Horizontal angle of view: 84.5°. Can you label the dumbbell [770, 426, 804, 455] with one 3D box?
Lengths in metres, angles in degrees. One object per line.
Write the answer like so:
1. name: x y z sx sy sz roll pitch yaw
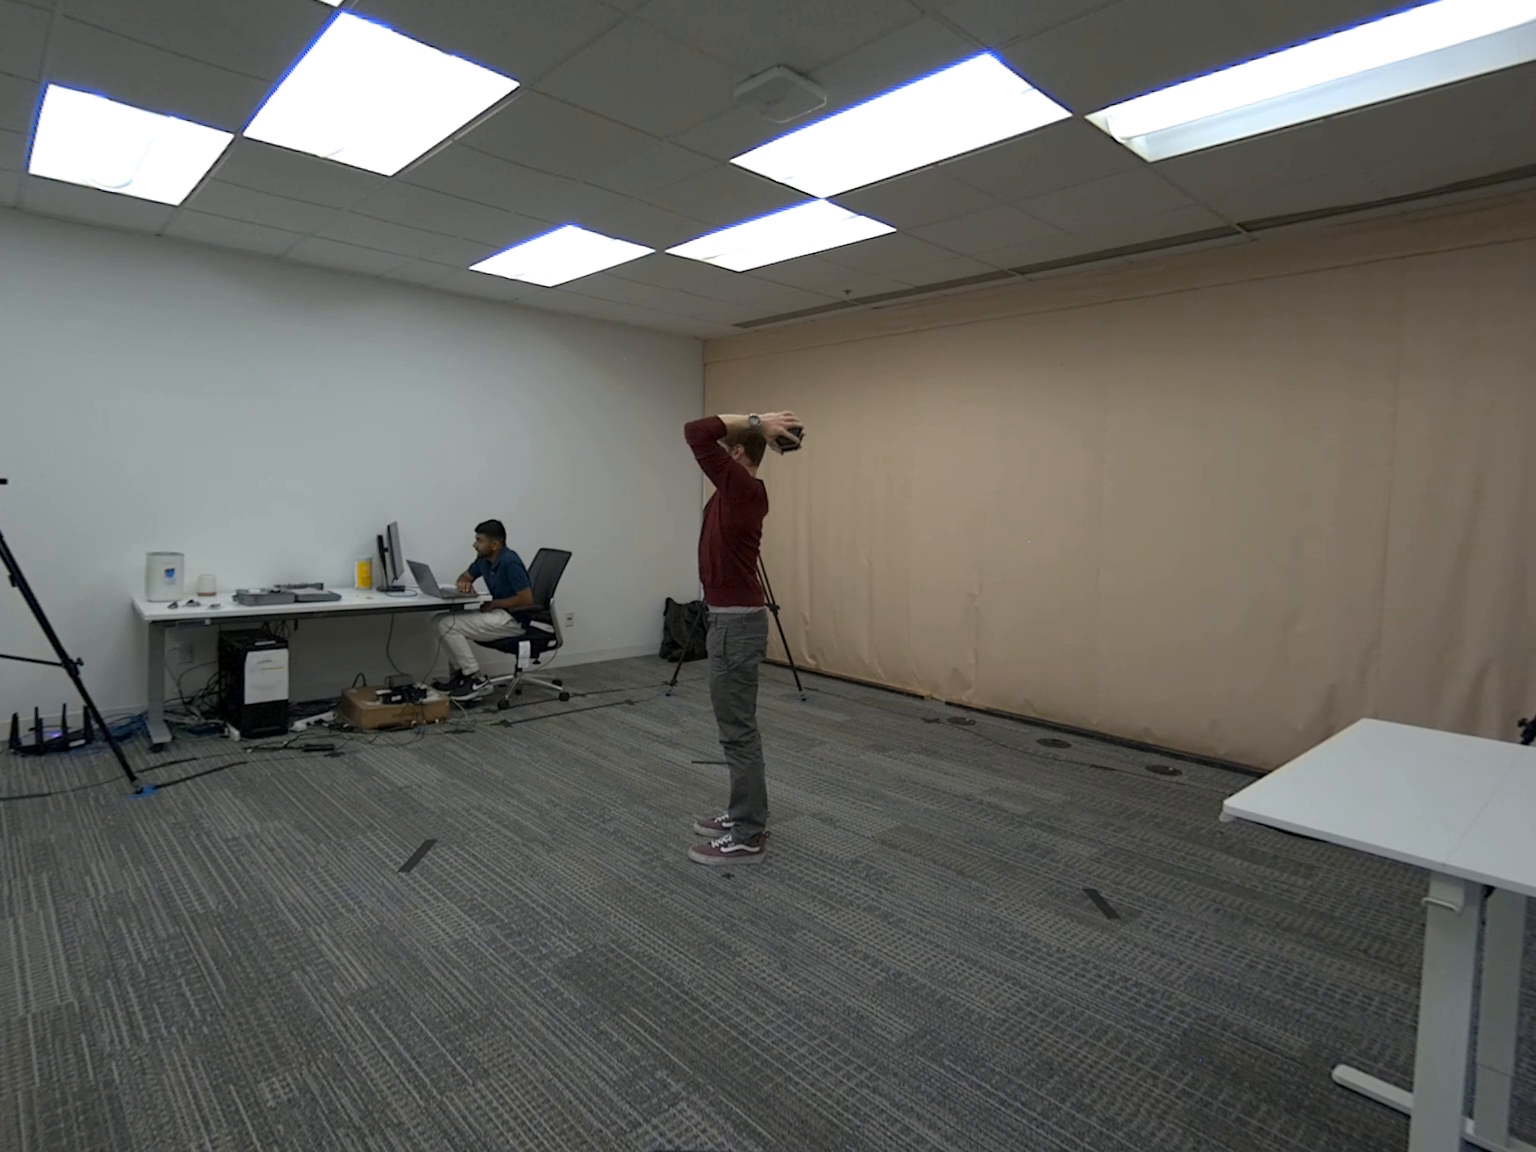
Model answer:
1. dumbbell: 0.040 -0.566 3.304 0.109 0.124 0.291 -40 -5 9
